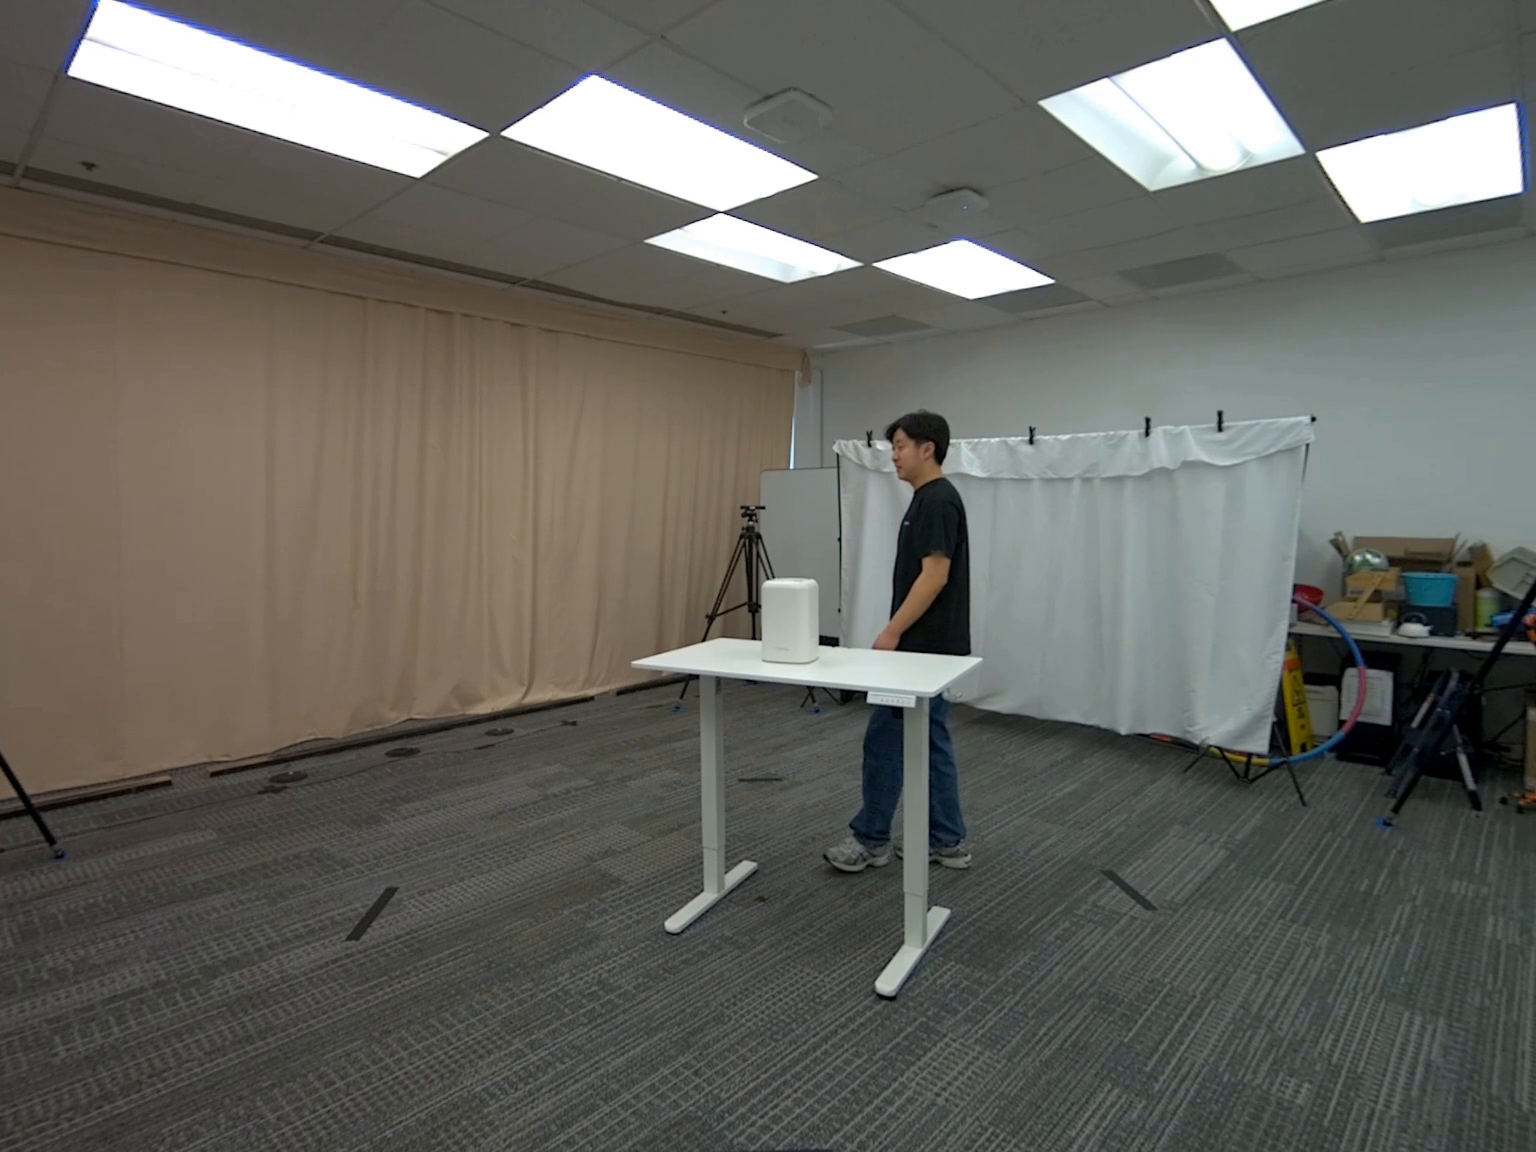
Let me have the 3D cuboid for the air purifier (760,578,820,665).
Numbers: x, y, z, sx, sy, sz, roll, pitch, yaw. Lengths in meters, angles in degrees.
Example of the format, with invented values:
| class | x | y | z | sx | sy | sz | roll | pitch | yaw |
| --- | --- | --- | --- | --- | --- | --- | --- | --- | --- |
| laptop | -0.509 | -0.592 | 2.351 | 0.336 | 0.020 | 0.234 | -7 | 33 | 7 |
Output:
| class | x | y | z | sx | sy | sz | roll | pitch | yaw |
| --- | --- | --- | --- | --- | --- | --- | --- | --- | --- |
| air purifier | 0.075 | 0.146 | 2.784 | 0.175 | 0.265 | 0.168 | 1 | 2 | 23 |
